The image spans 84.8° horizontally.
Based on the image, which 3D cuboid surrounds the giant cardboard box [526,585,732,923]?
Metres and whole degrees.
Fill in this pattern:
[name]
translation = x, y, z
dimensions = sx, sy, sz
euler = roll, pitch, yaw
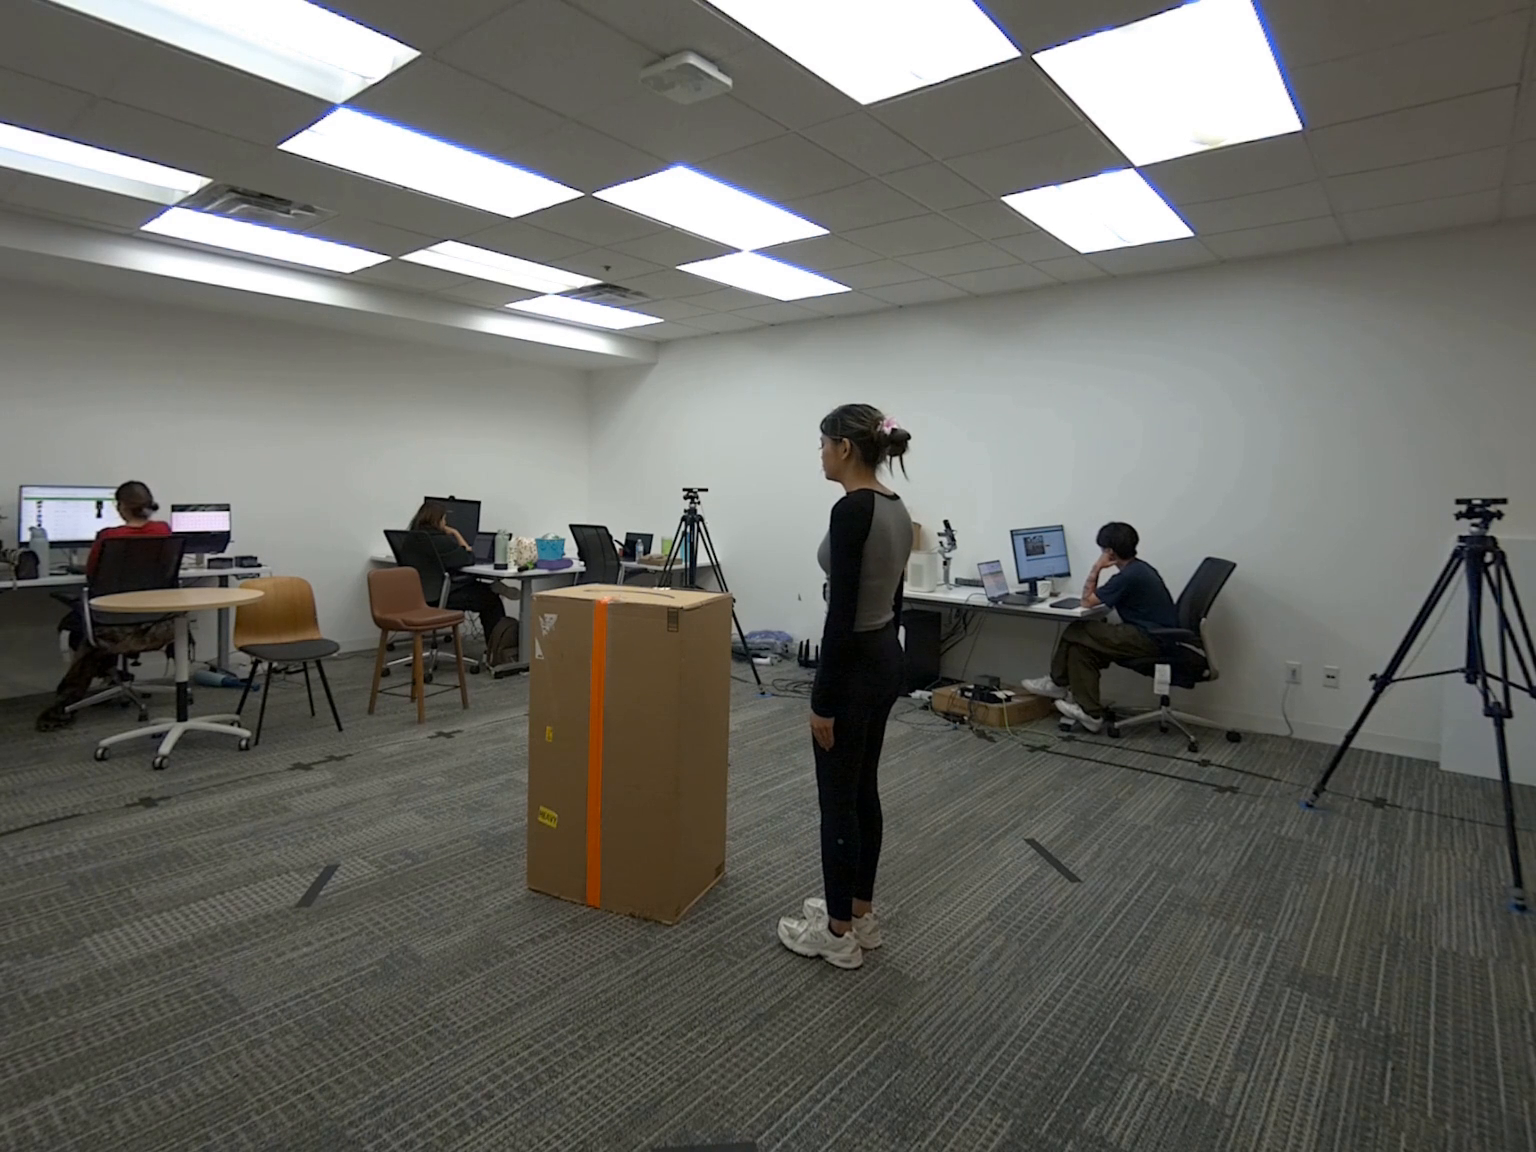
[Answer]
[giant cardboard box]
translation = -0.492, 0.571, 2.976
dimensions = 0.598, 1.025, 0.437
euler = 3, 3, 22
